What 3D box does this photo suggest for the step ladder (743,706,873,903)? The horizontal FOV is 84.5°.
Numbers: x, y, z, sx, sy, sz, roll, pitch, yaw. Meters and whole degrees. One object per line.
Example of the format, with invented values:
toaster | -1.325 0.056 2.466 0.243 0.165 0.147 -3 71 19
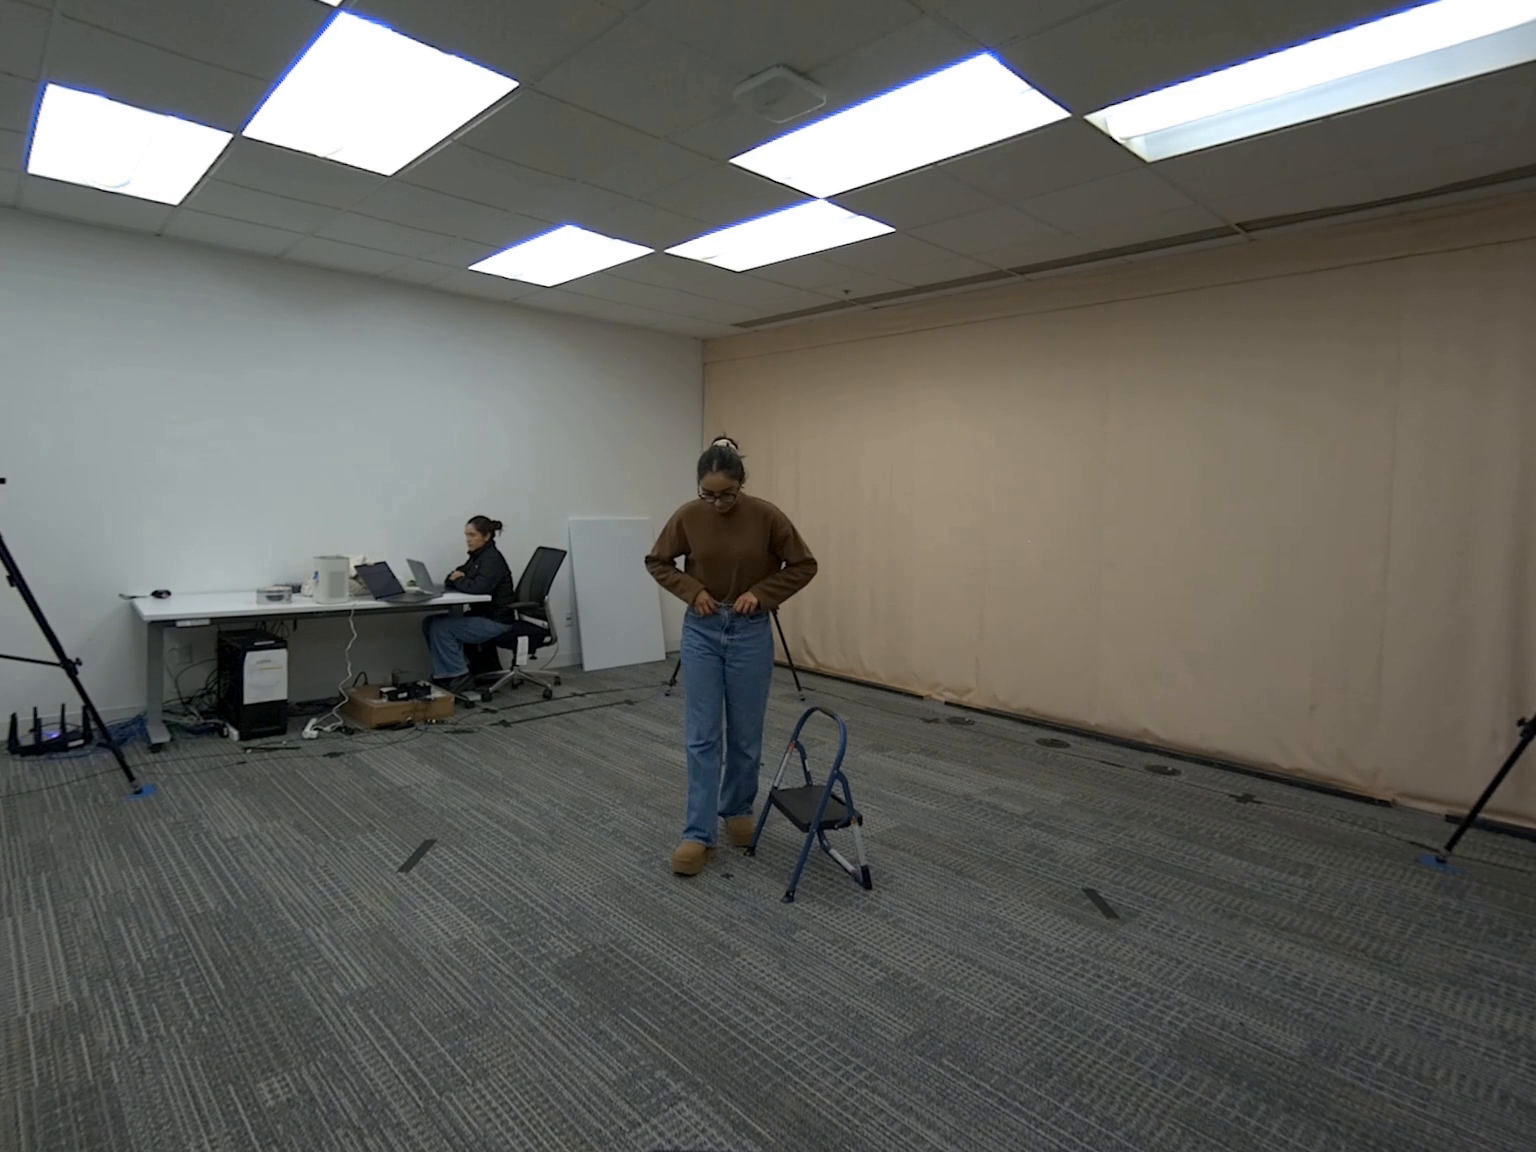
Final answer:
step ladder | 0.148 0.809 3.134 0.344 0.604 0.438 0 4 -20
